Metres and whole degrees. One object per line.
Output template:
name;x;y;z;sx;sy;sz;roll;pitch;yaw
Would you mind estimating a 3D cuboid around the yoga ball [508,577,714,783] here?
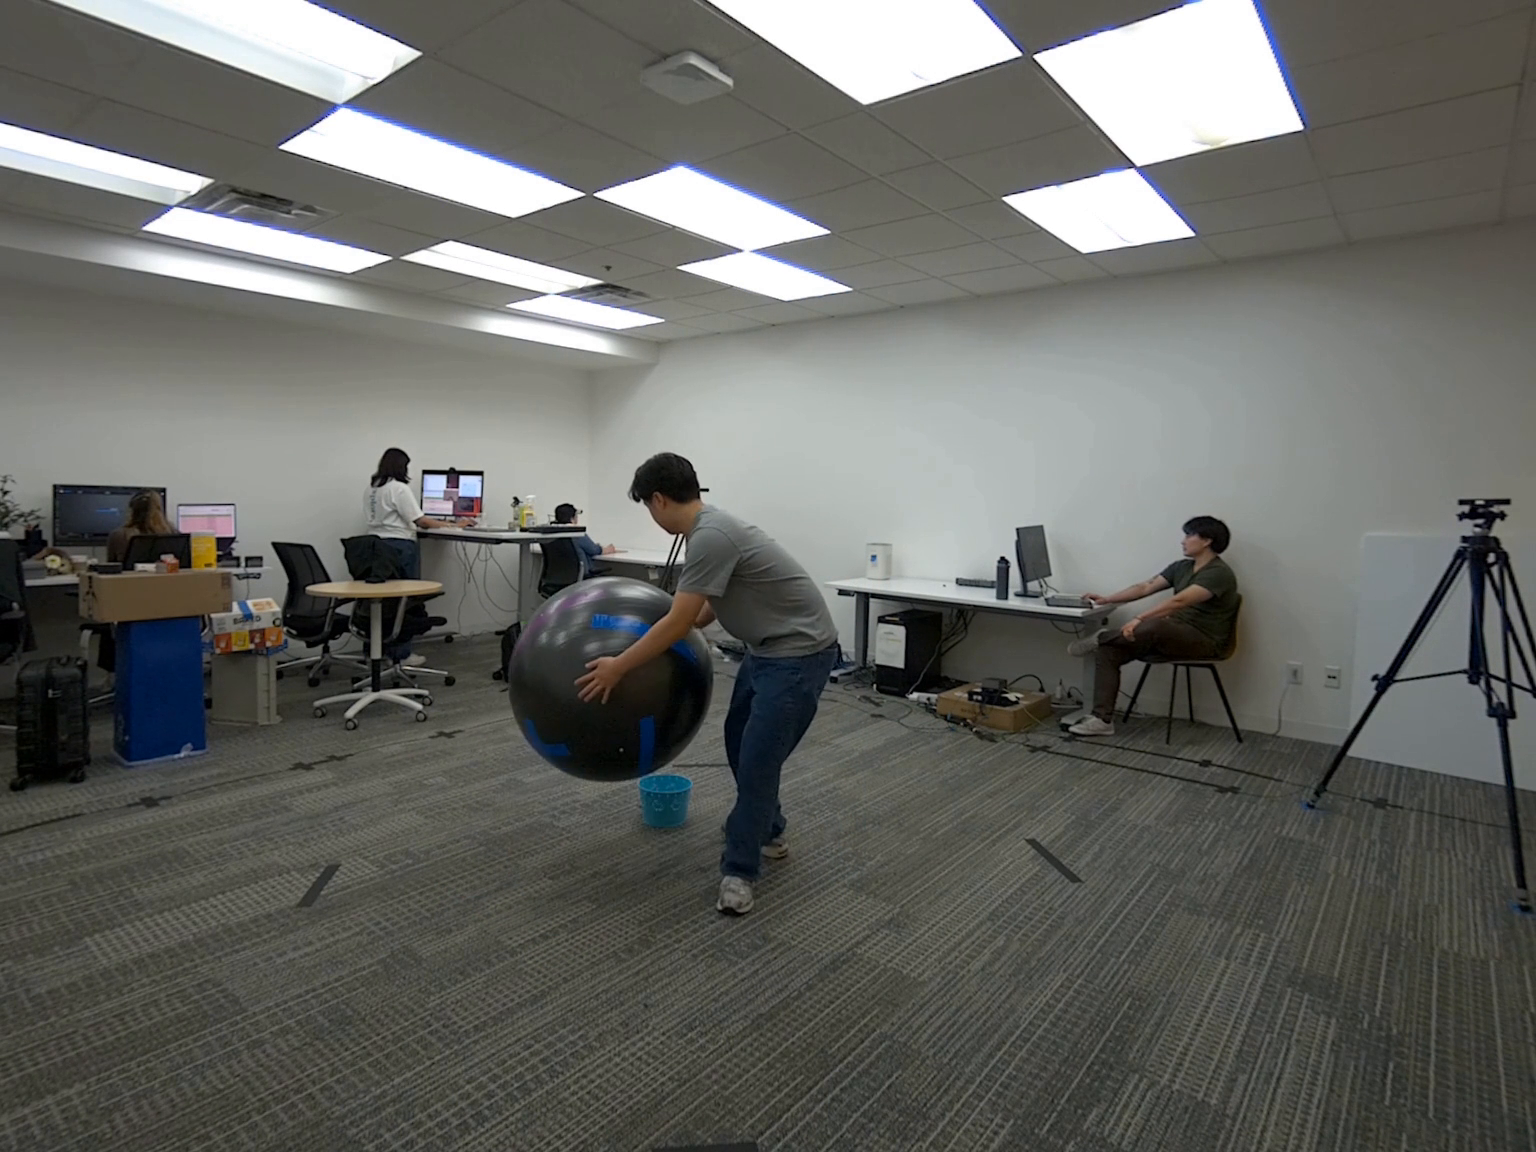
yoga ball;-0.596;0.401;3.189;0.757;0.755;0.762;1;4;-2
